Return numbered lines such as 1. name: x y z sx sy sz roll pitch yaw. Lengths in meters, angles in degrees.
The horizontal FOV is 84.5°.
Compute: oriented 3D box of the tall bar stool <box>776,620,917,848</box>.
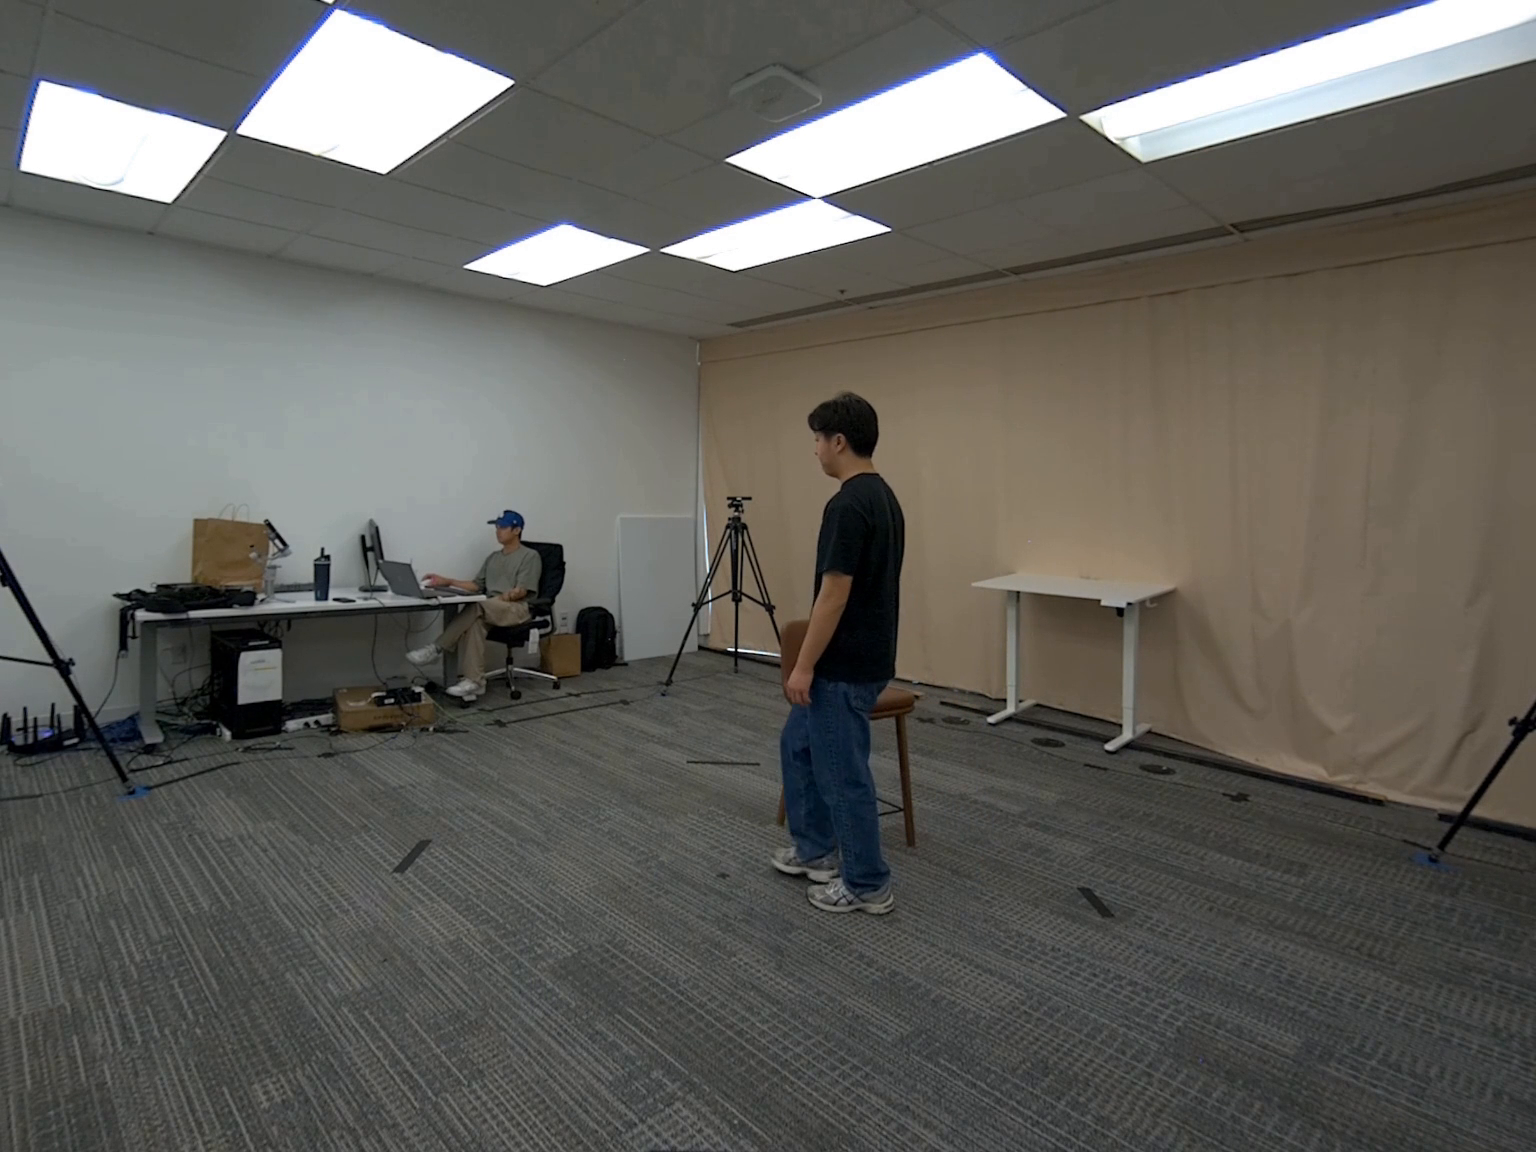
1. tall bar stool: 0.323 0.652 3.495 0.447 0.889 0.477 0 2 -30
